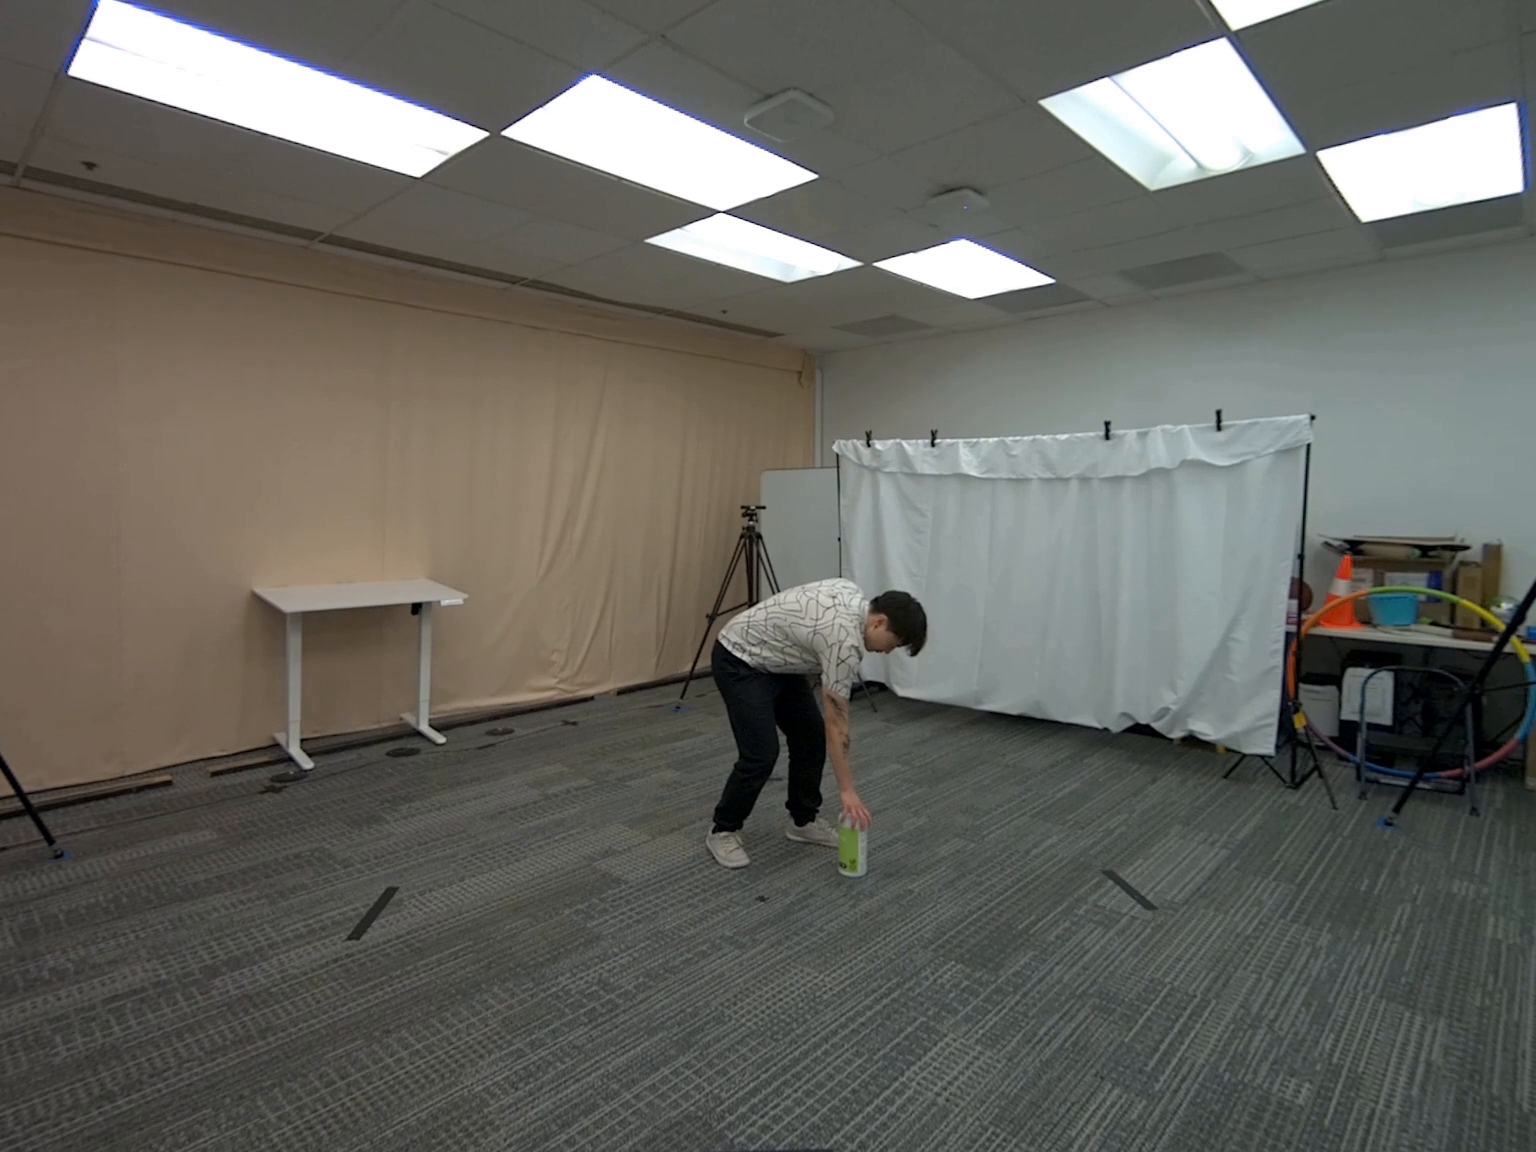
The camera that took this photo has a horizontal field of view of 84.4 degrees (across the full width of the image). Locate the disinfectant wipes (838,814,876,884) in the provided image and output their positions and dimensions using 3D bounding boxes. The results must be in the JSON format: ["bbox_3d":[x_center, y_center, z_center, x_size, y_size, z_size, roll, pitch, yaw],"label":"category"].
[{"bbox_3d":[0.332,1.023,3.187,0.118,0.217,0.118,0,3,-2],"label":"disinfectant wipes"}]
